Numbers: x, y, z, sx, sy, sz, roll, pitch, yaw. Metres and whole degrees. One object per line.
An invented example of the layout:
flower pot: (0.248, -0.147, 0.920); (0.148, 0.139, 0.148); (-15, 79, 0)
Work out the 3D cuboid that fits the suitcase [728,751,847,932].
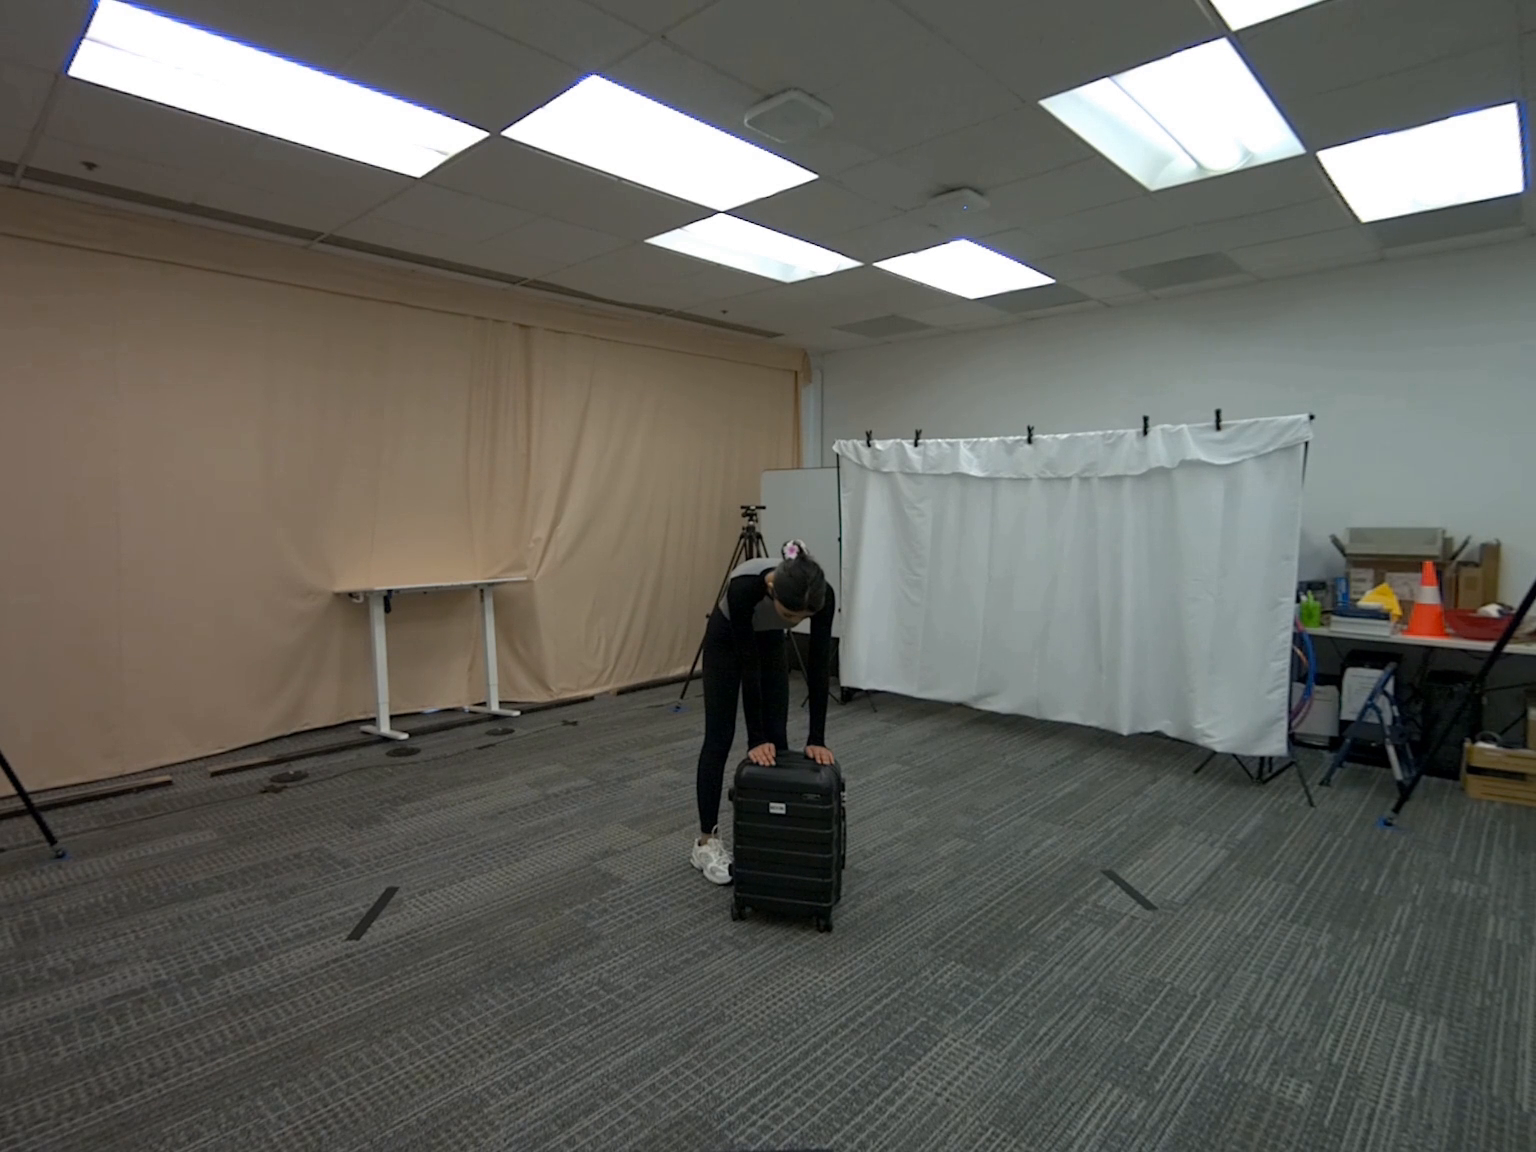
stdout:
suitcase: (0.075, 0.879, 2.867); (0.382, 0.548, 0.245); (1, 5, 16)
